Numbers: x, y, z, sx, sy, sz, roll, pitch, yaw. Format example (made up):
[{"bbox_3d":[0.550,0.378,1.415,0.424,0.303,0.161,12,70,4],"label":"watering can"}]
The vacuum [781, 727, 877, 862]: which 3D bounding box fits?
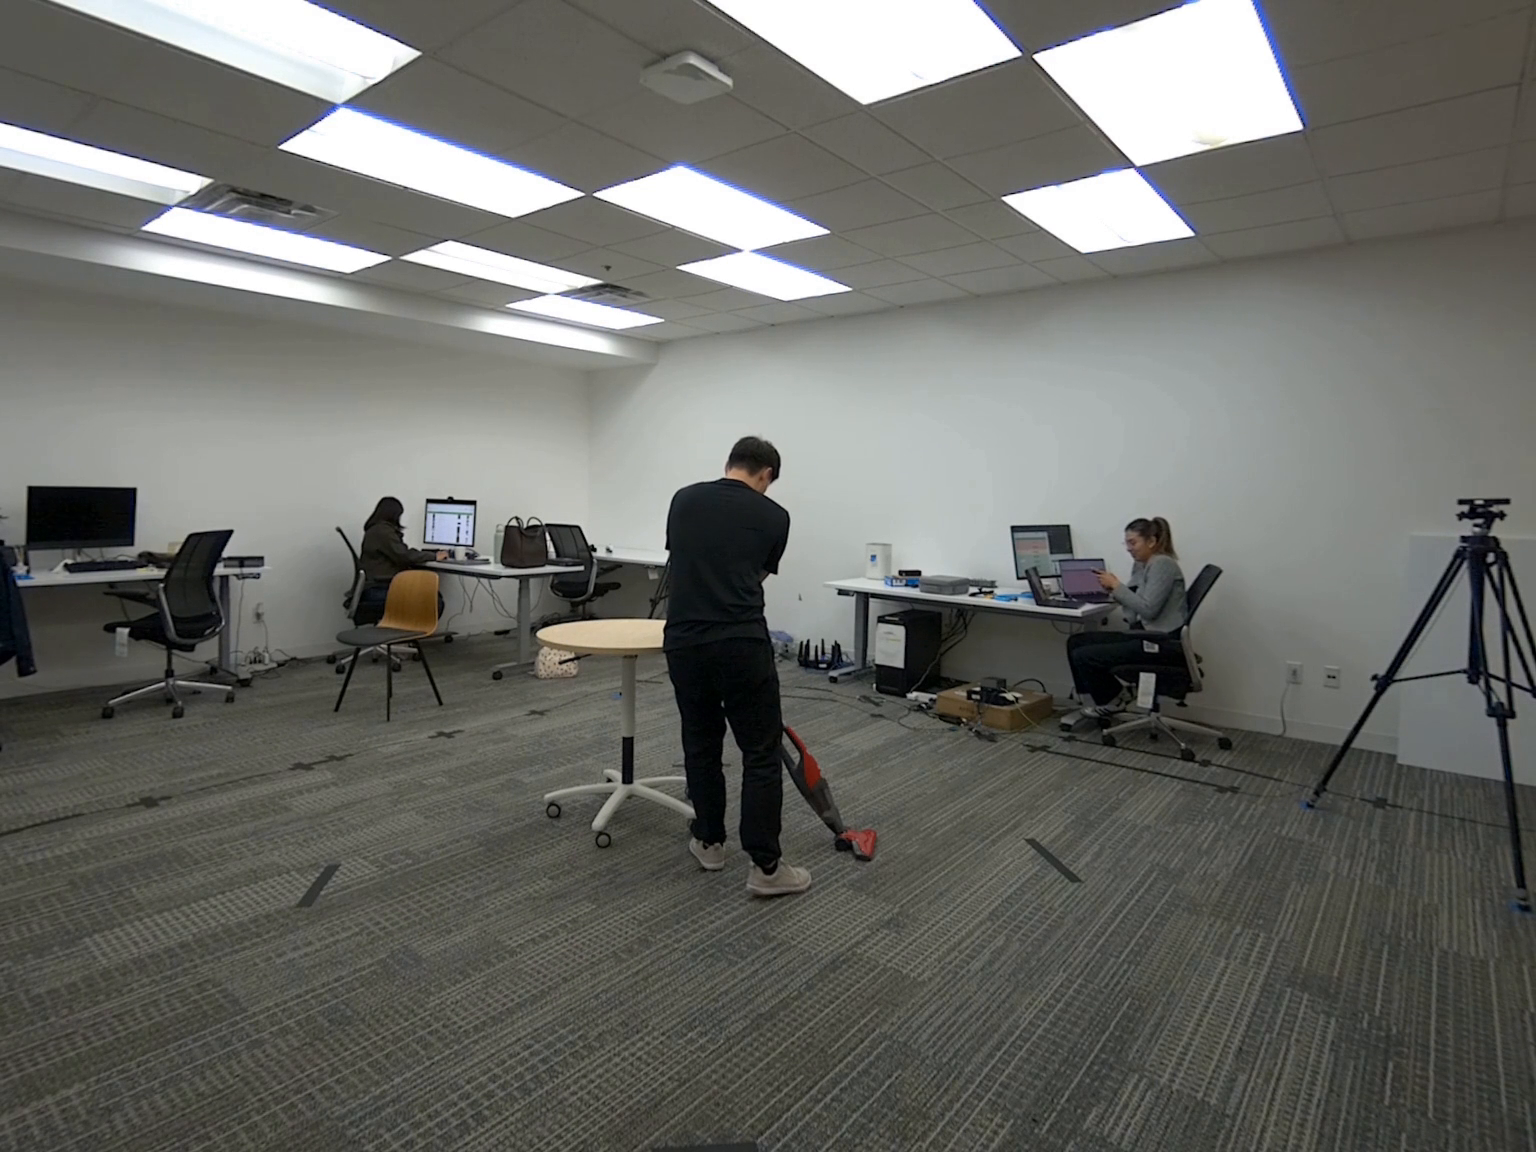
[{"bbox_3d":[0.045,0.624,3.416,0.144,1.063,0.248,-37,-9,11],"label":"vacuum"}]
